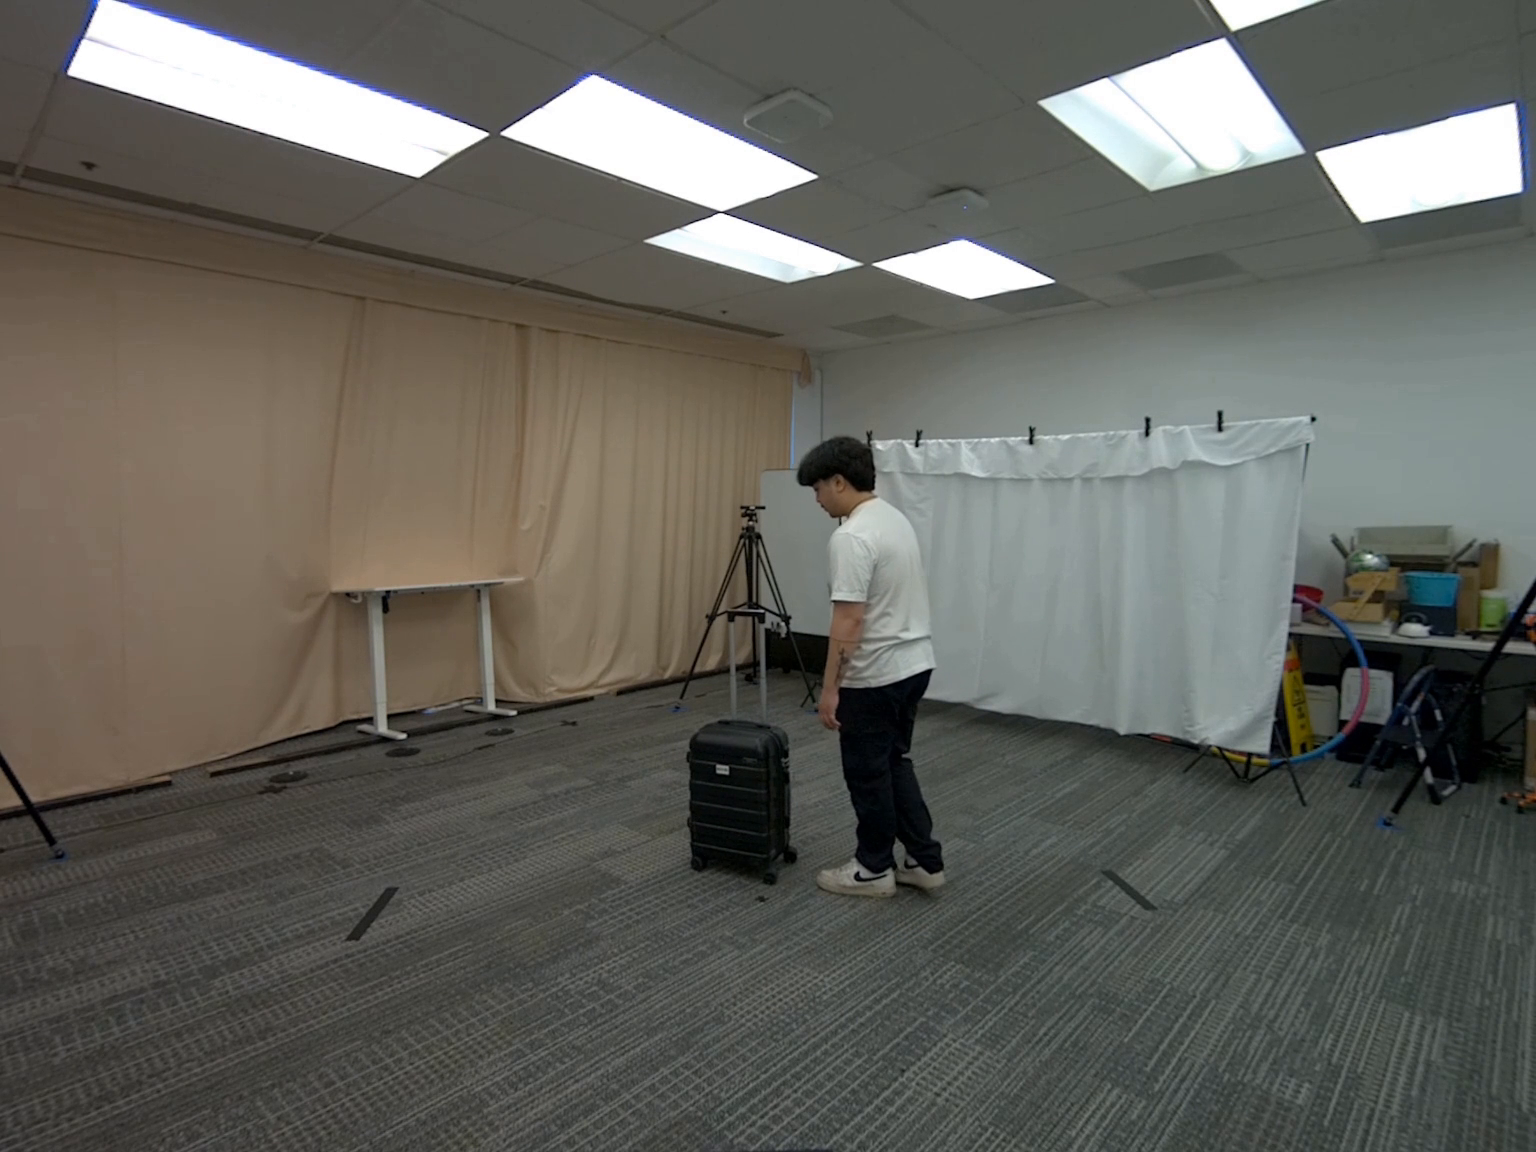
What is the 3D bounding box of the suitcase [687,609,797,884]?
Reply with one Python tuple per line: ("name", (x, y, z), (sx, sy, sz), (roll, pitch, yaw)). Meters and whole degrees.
("suitcase", (-0.112, 0.649, 3.242), (0.393, 0.975, 0.251), (-1, 5, 25))
